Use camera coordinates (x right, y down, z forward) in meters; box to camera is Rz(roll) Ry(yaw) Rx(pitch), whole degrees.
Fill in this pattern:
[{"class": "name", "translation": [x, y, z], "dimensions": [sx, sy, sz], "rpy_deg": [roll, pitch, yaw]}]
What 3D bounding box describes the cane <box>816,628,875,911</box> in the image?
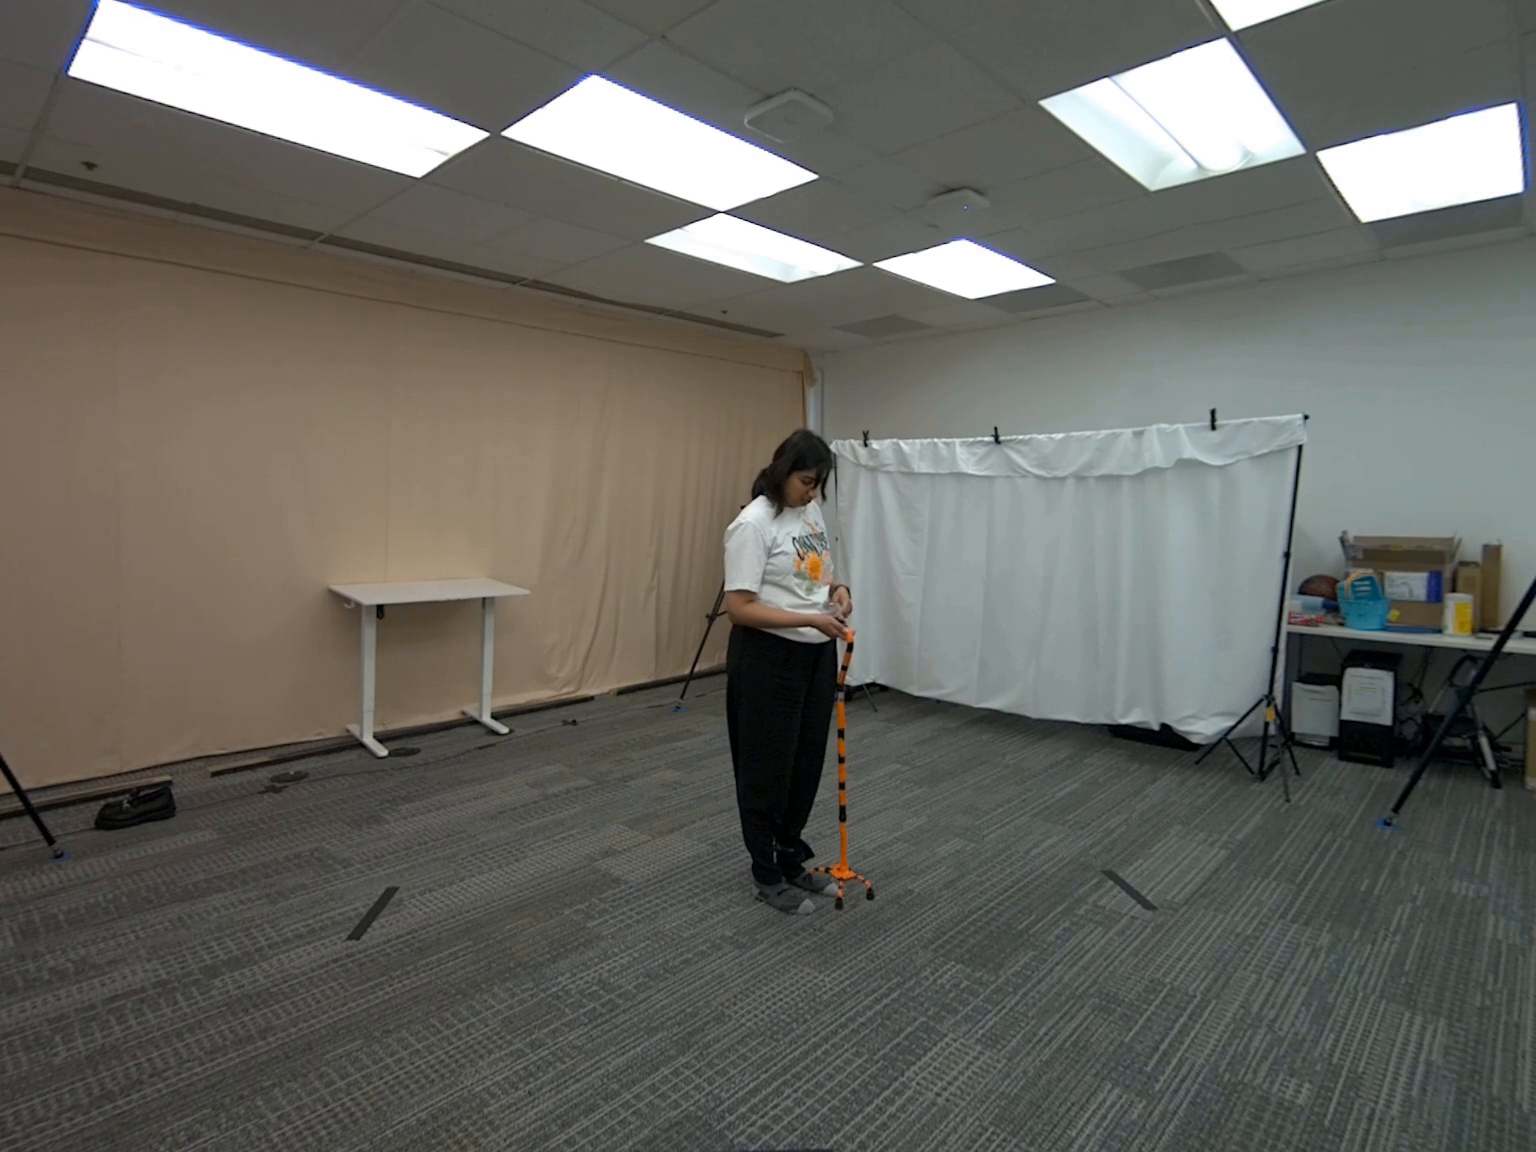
[{"class": "cane", "translation": [0.231, 0.606, 2.730], "dimensions": [0.147, 0.904, 0.213], "rpy_deg": [-6, 8, -34]}]
